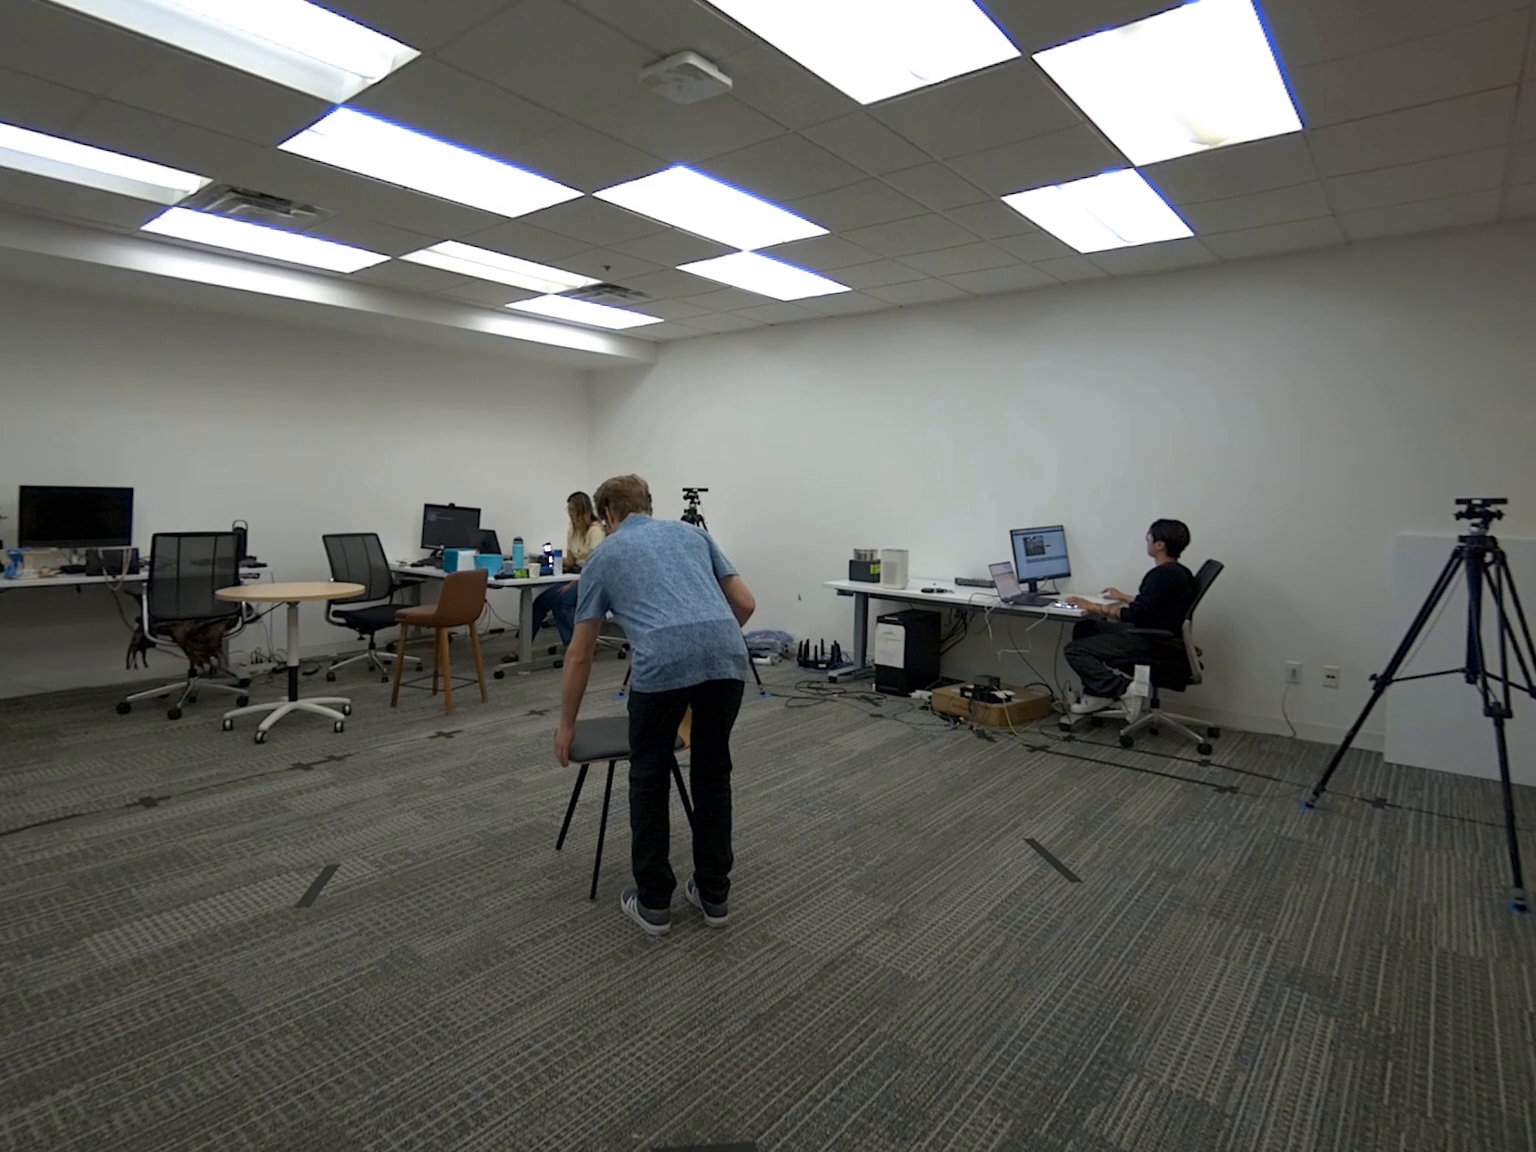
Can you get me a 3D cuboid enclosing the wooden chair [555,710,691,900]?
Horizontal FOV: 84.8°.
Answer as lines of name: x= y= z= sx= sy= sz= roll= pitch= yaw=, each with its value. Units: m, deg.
wooden chair: x=-0.516 y=0.633 z=3.127 sx=0.509 sy=0.876 sz=0.492 roll=4 pitch=2 yaw=-28
